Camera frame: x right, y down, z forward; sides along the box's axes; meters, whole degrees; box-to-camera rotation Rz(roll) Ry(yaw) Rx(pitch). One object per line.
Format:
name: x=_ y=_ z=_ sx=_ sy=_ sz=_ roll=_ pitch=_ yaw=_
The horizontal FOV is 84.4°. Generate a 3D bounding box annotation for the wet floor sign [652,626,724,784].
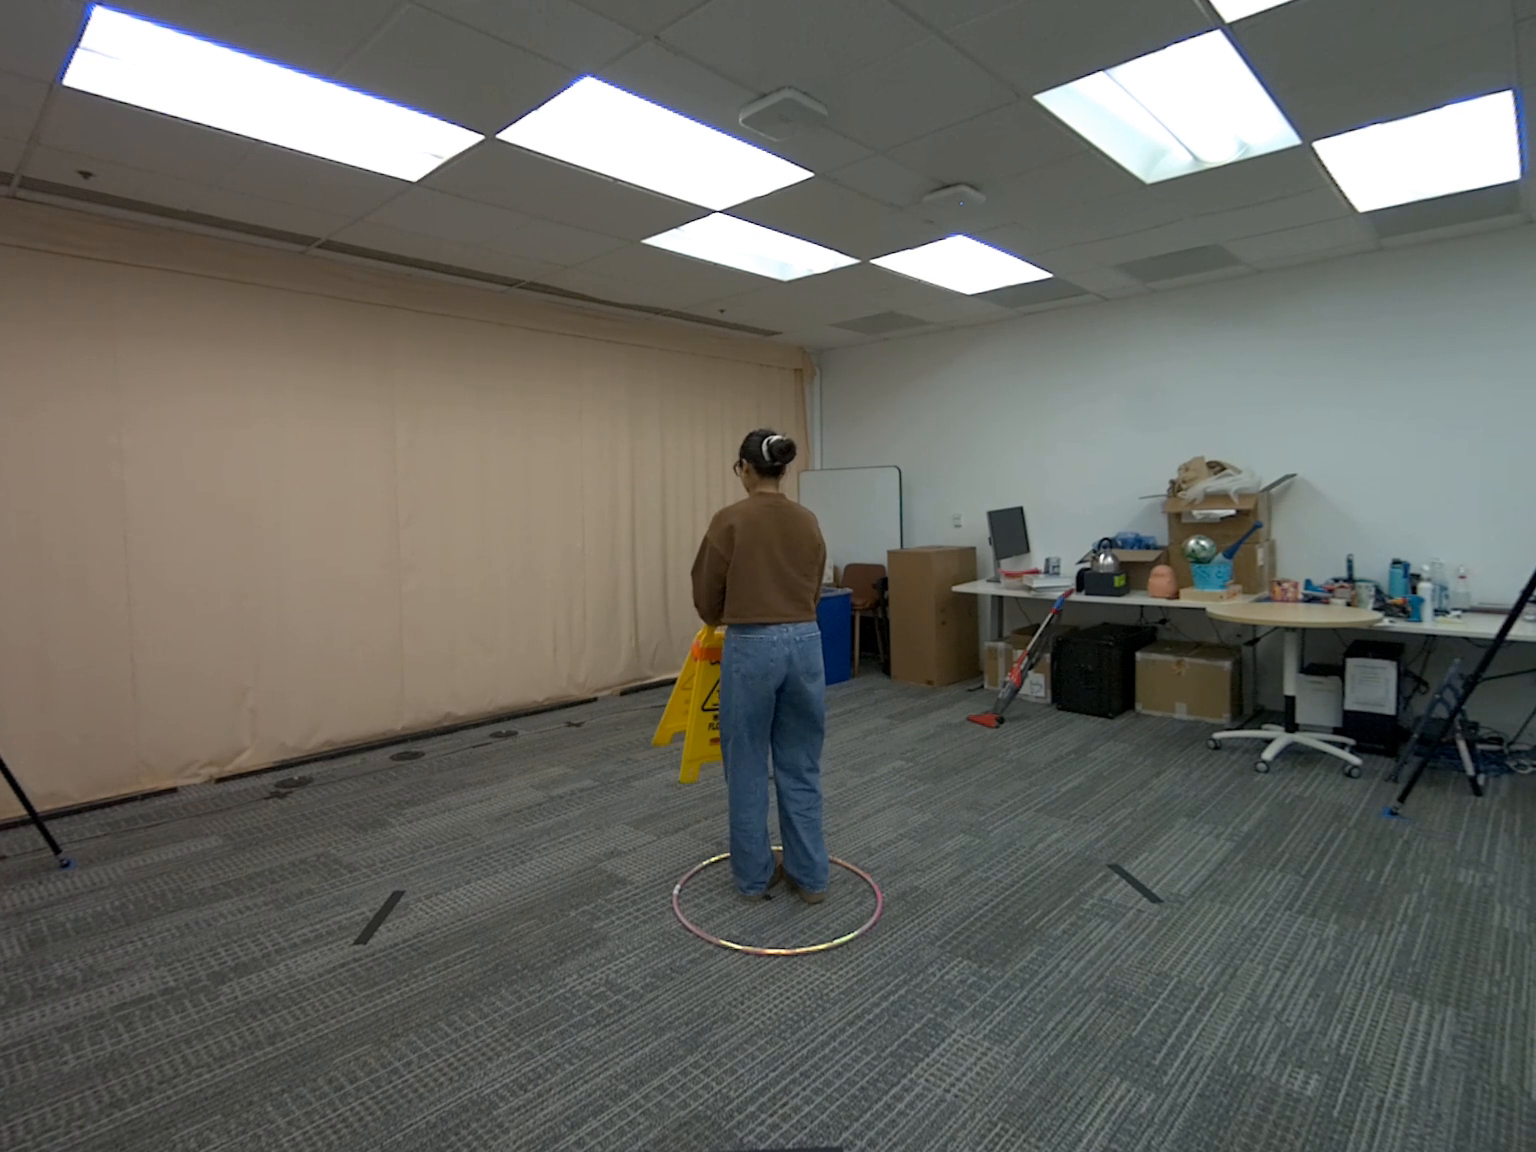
wet floor sign: x=-0.205 y=0.449 z=3.317 sx=0.274 sy=0.642 sz=0.300 roll=4 pitch=18 yaw=-33
